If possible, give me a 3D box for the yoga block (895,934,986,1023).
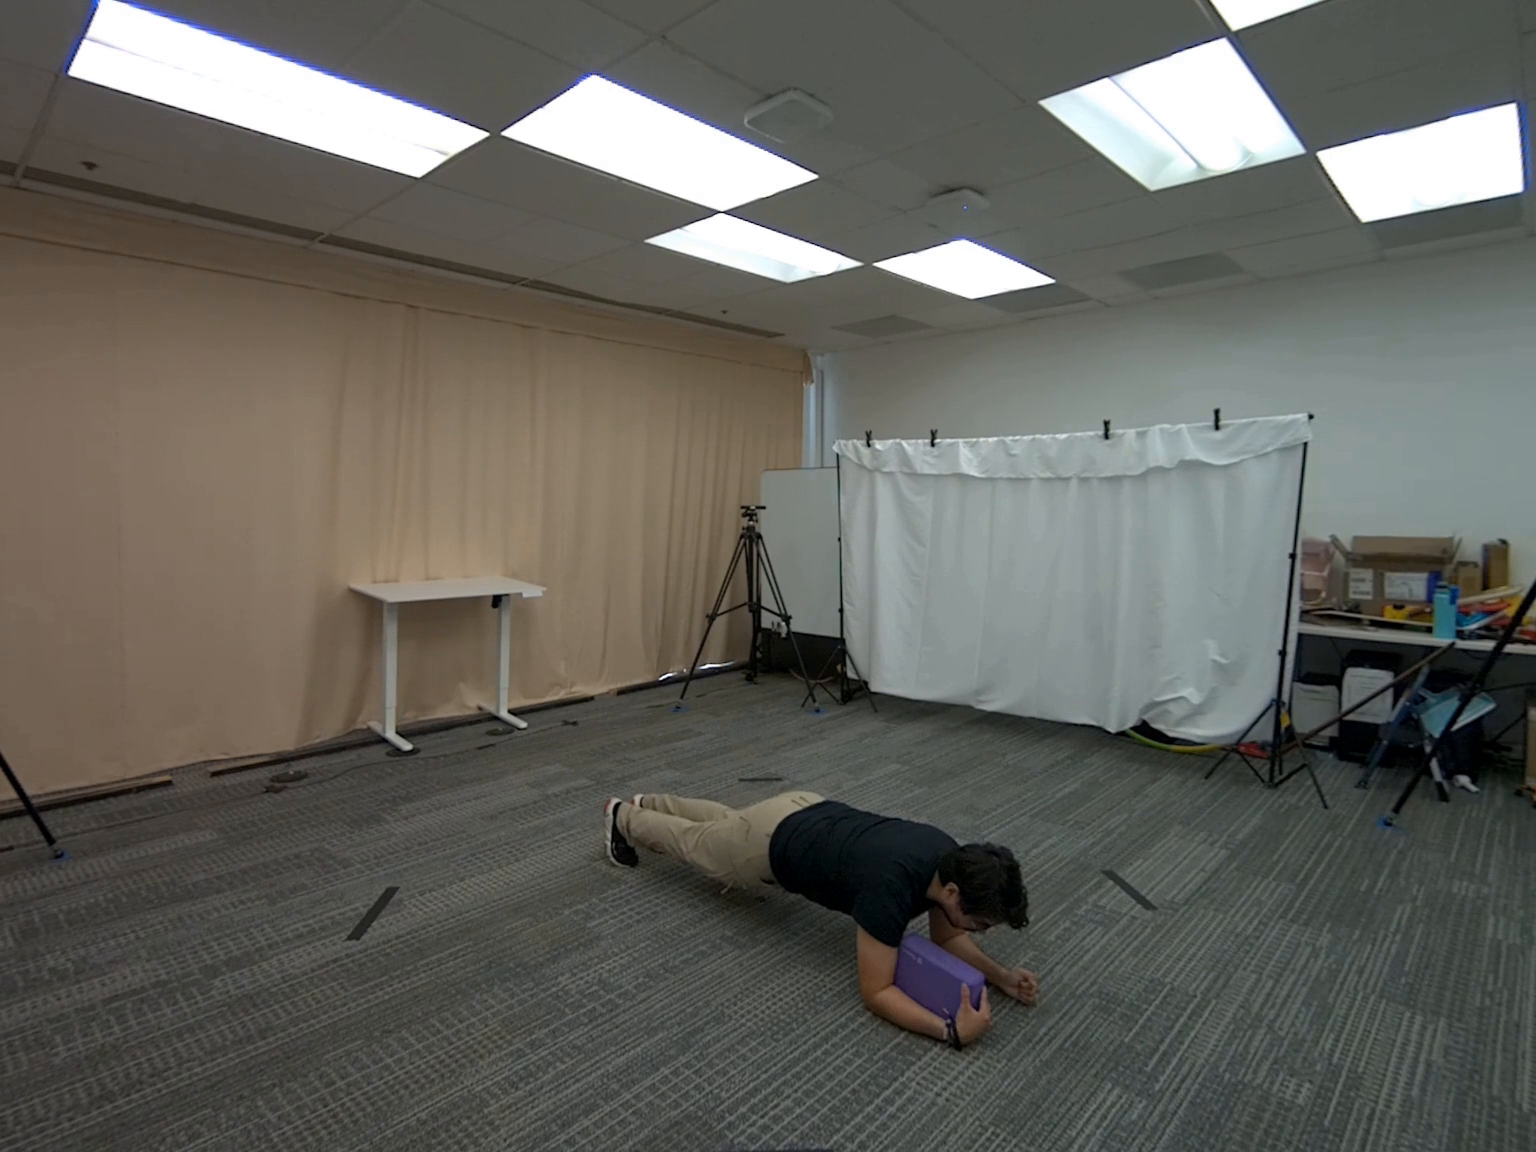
[{"bbox_3d":[0.463,1.086,2.286,0.074,0.148,0.238,6,8,-42],"label":"yoga block"}]
